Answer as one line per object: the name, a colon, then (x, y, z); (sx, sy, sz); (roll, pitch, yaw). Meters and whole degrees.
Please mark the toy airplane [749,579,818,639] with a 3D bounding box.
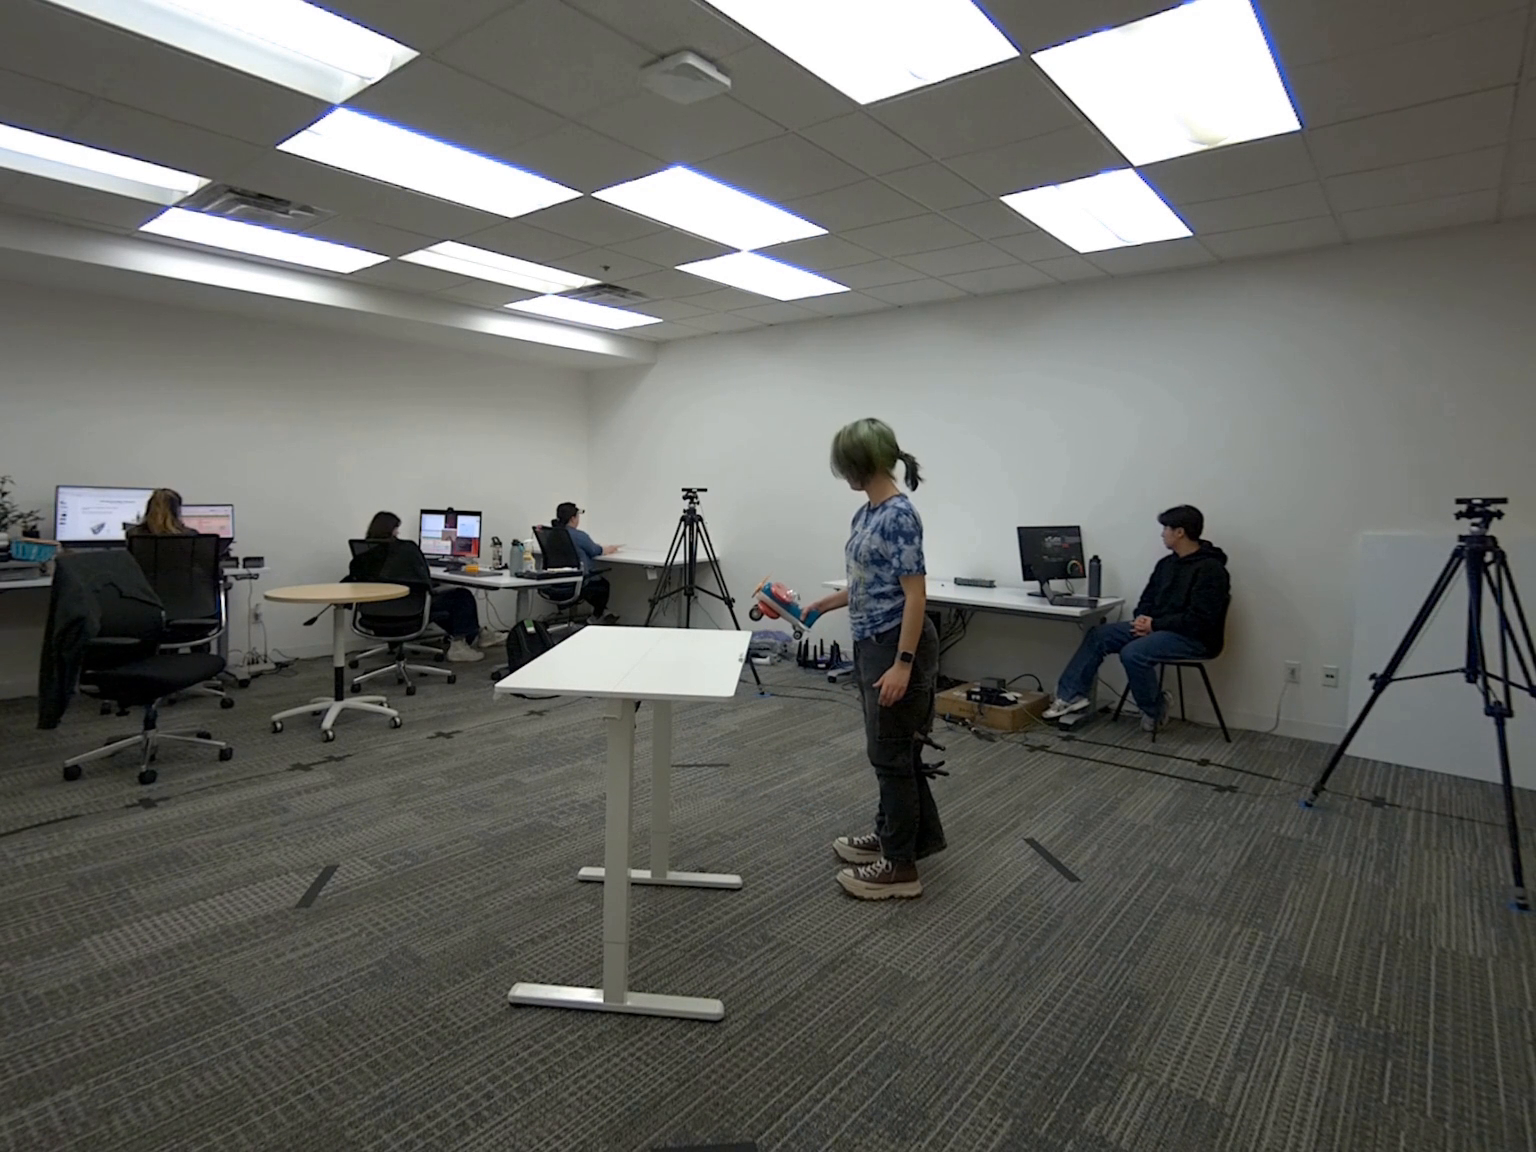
toy airplane: (0.052, 0.124, 3.277); (0.252, 0.156, 0.259); (19, 9, -23)
